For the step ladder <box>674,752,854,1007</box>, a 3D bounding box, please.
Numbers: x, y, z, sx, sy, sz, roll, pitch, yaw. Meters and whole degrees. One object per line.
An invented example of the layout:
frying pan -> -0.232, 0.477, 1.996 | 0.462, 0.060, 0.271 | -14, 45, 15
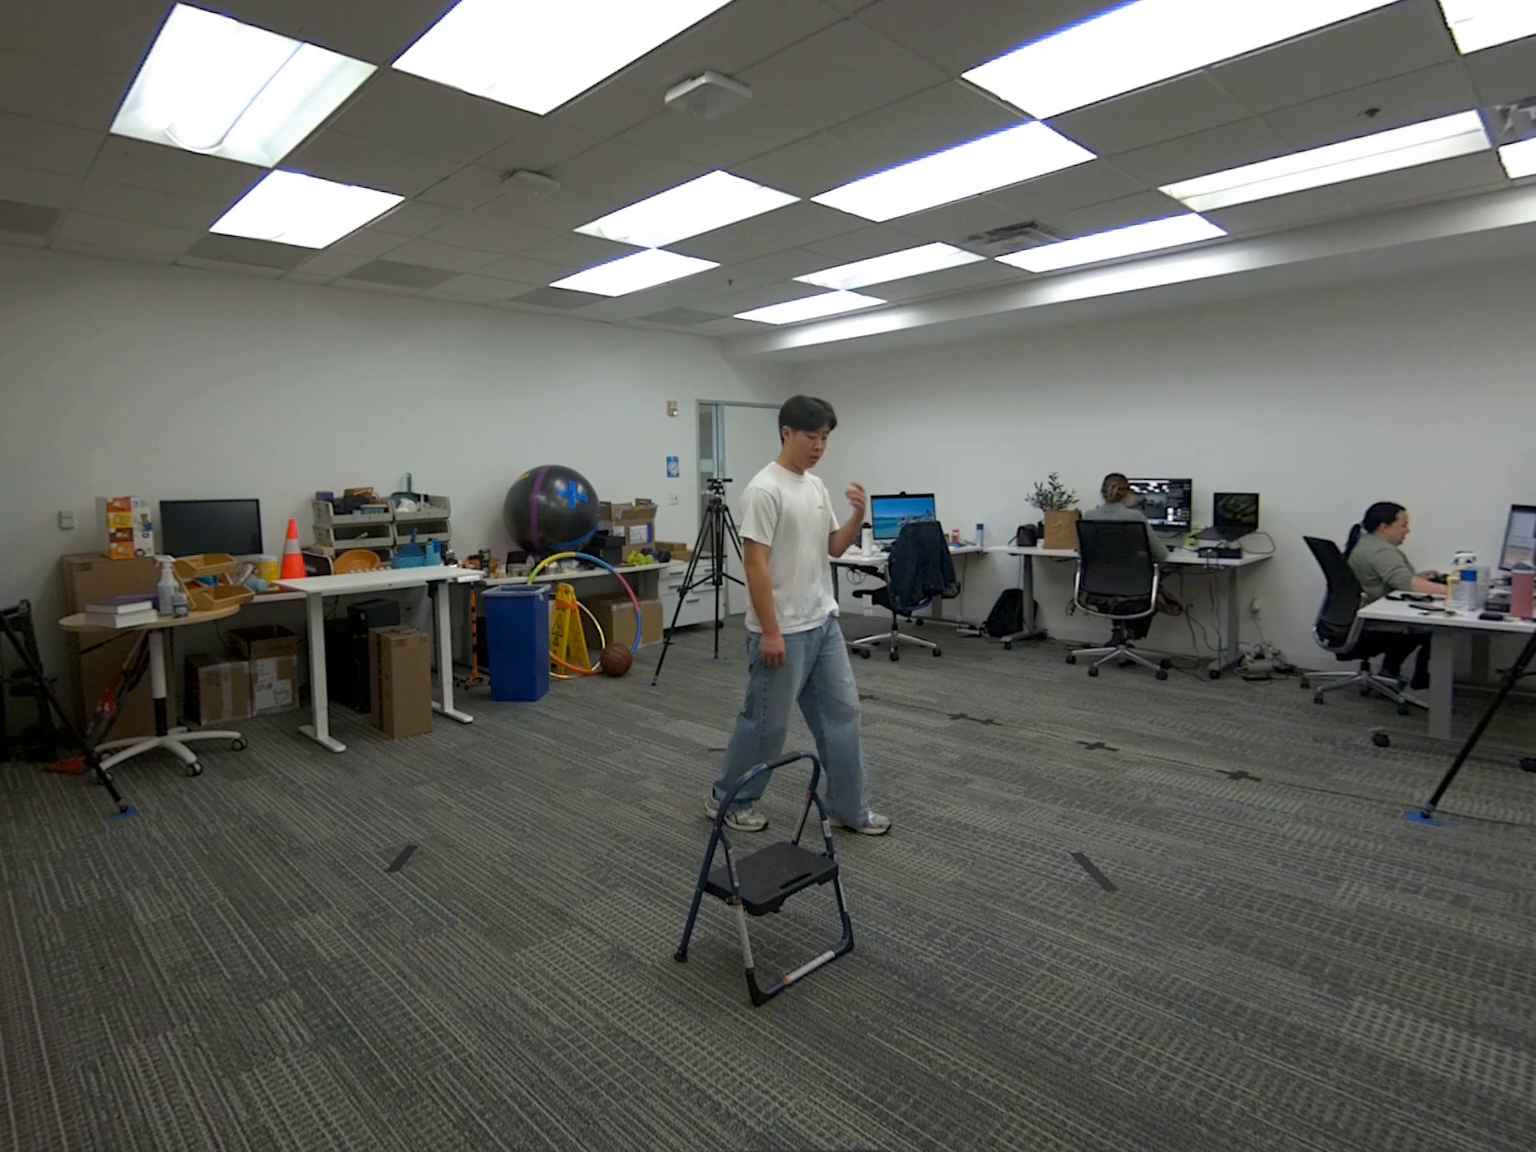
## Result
step ladder -> -0.011, 0.812, 2.499 | 0.360, 0.603, 0.419 | 3, 7, 45
